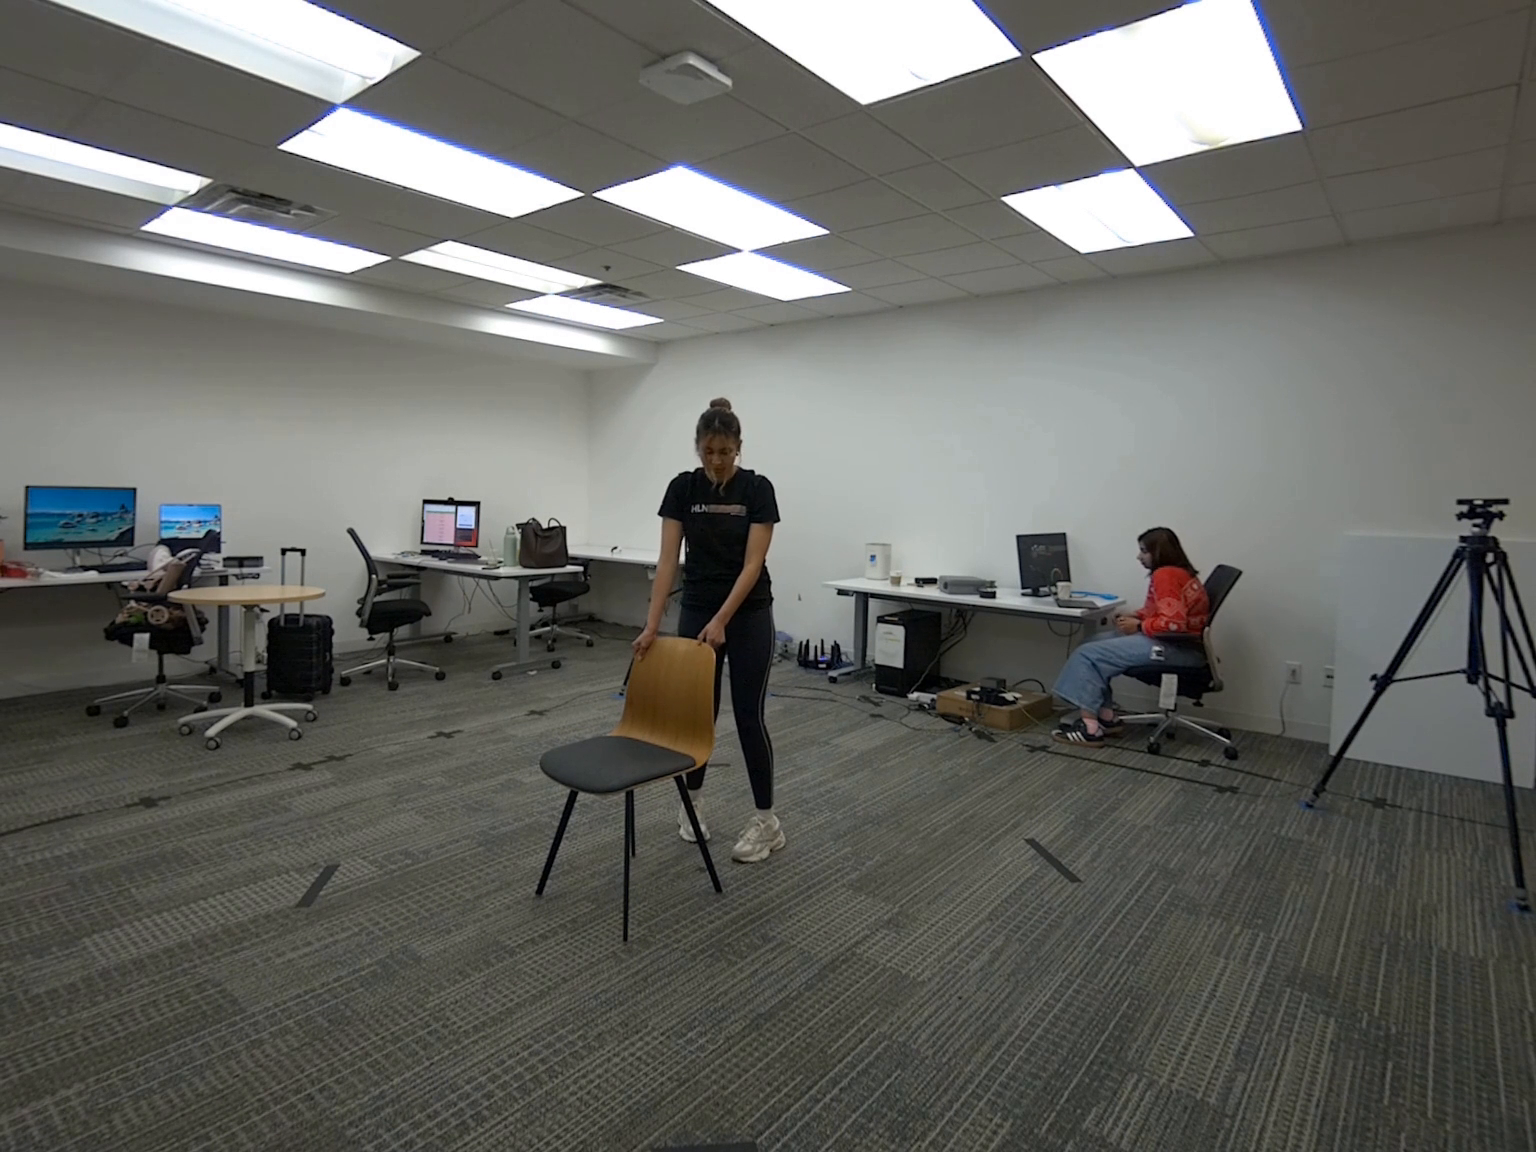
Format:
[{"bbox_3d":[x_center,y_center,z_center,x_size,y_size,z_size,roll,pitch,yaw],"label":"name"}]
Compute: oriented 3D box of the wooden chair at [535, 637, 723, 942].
[{"bbox_3d":[-0.476,0.660,2.876,0.494,0.878,0.506,4,0,40],"label":"wooden chair"}]
